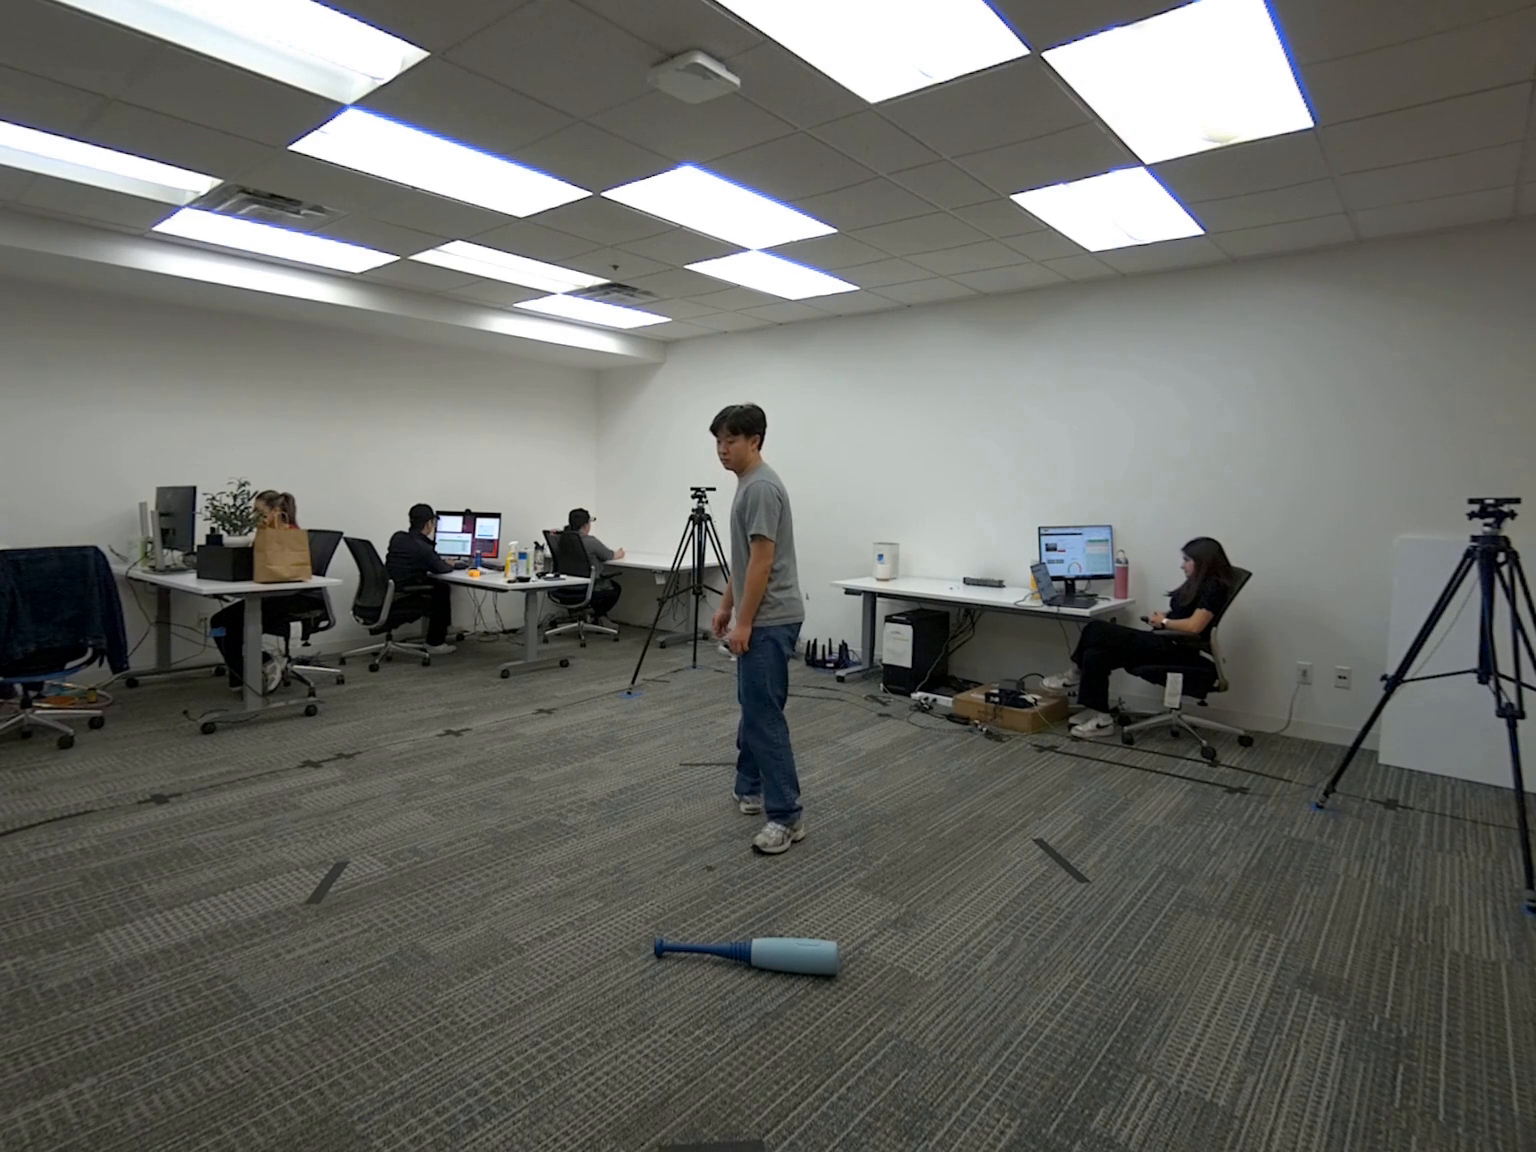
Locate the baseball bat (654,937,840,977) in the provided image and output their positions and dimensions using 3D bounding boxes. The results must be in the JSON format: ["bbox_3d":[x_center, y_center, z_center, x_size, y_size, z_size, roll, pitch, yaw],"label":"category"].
[{"bbox_3d":[-0.074,1.095,2.473,0.547,0.089,0.088,-1,4,8],"label":"baseball bat"}]
